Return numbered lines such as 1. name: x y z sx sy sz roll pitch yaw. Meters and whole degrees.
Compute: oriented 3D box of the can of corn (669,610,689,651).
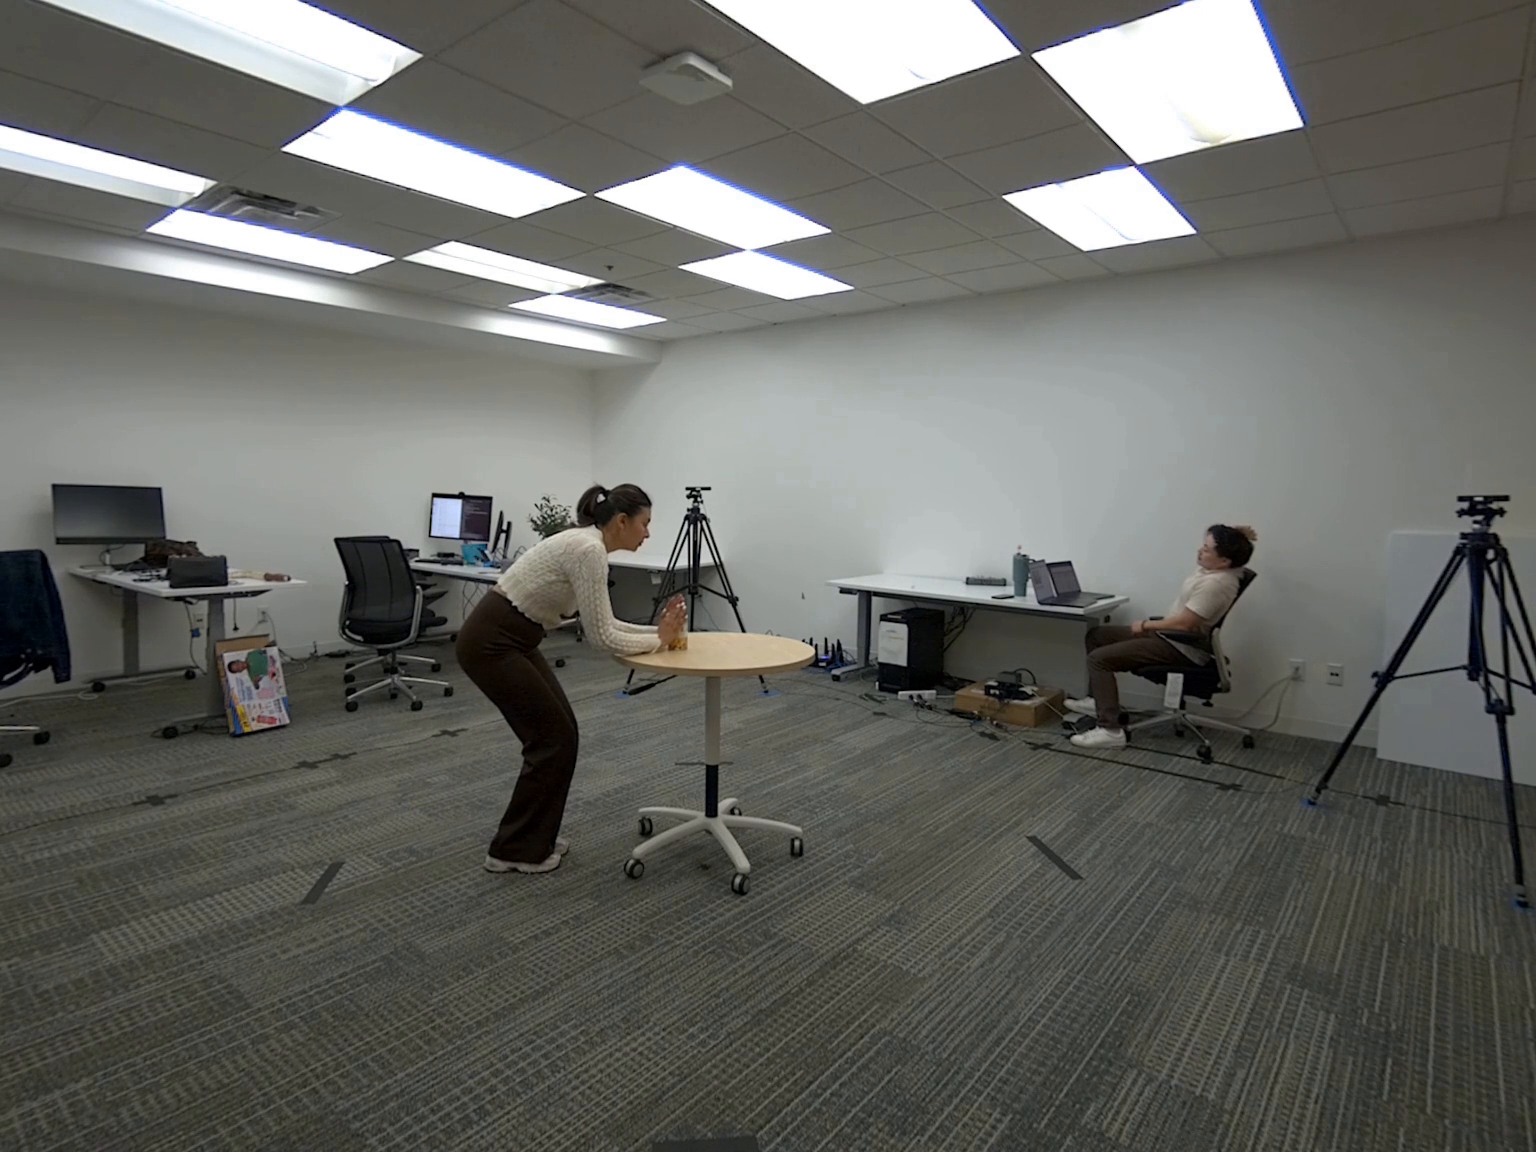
1. can of corn: -0.352 0.221 3.199 0.074 0.111 0.074 -1 1 -2
